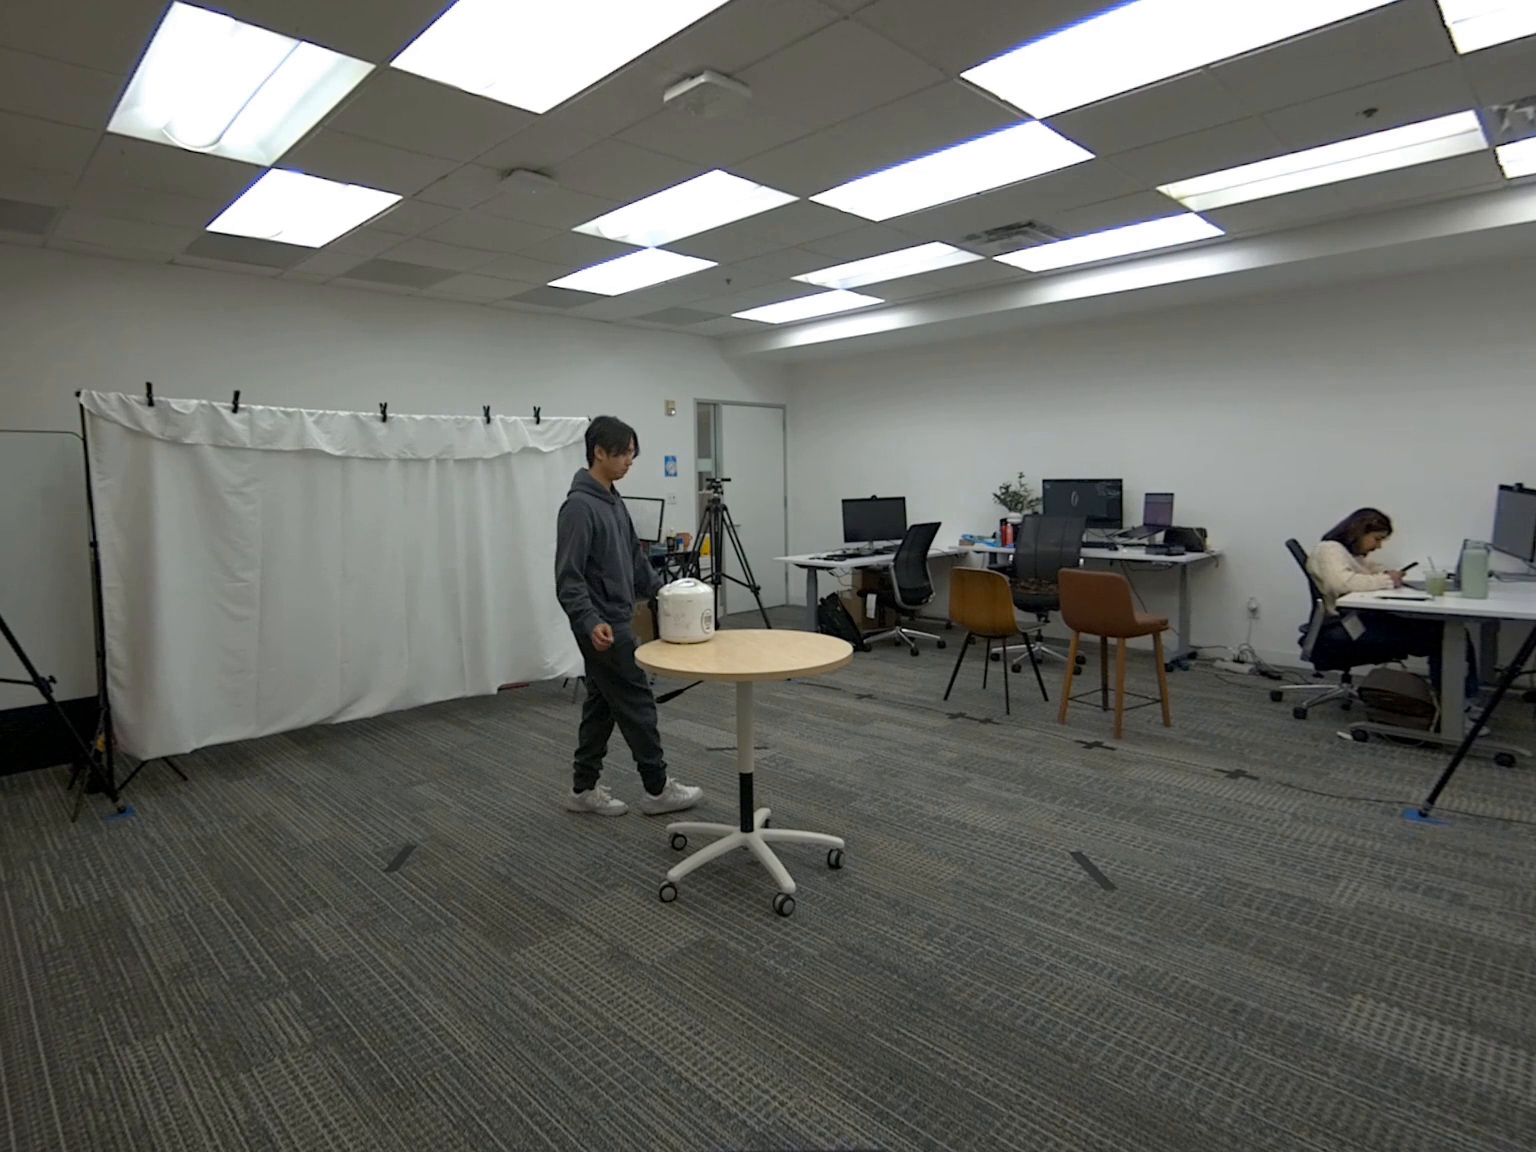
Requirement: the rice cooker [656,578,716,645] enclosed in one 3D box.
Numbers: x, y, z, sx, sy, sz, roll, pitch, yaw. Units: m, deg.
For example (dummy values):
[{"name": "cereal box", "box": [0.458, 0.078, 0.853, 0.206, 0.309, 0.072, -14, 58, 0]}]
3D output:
[{"name": "rice cooker", "box": [-0.300, 0.125, 3.199, 0.224, 0.232, 0.215, 0, 4, 40]}]
